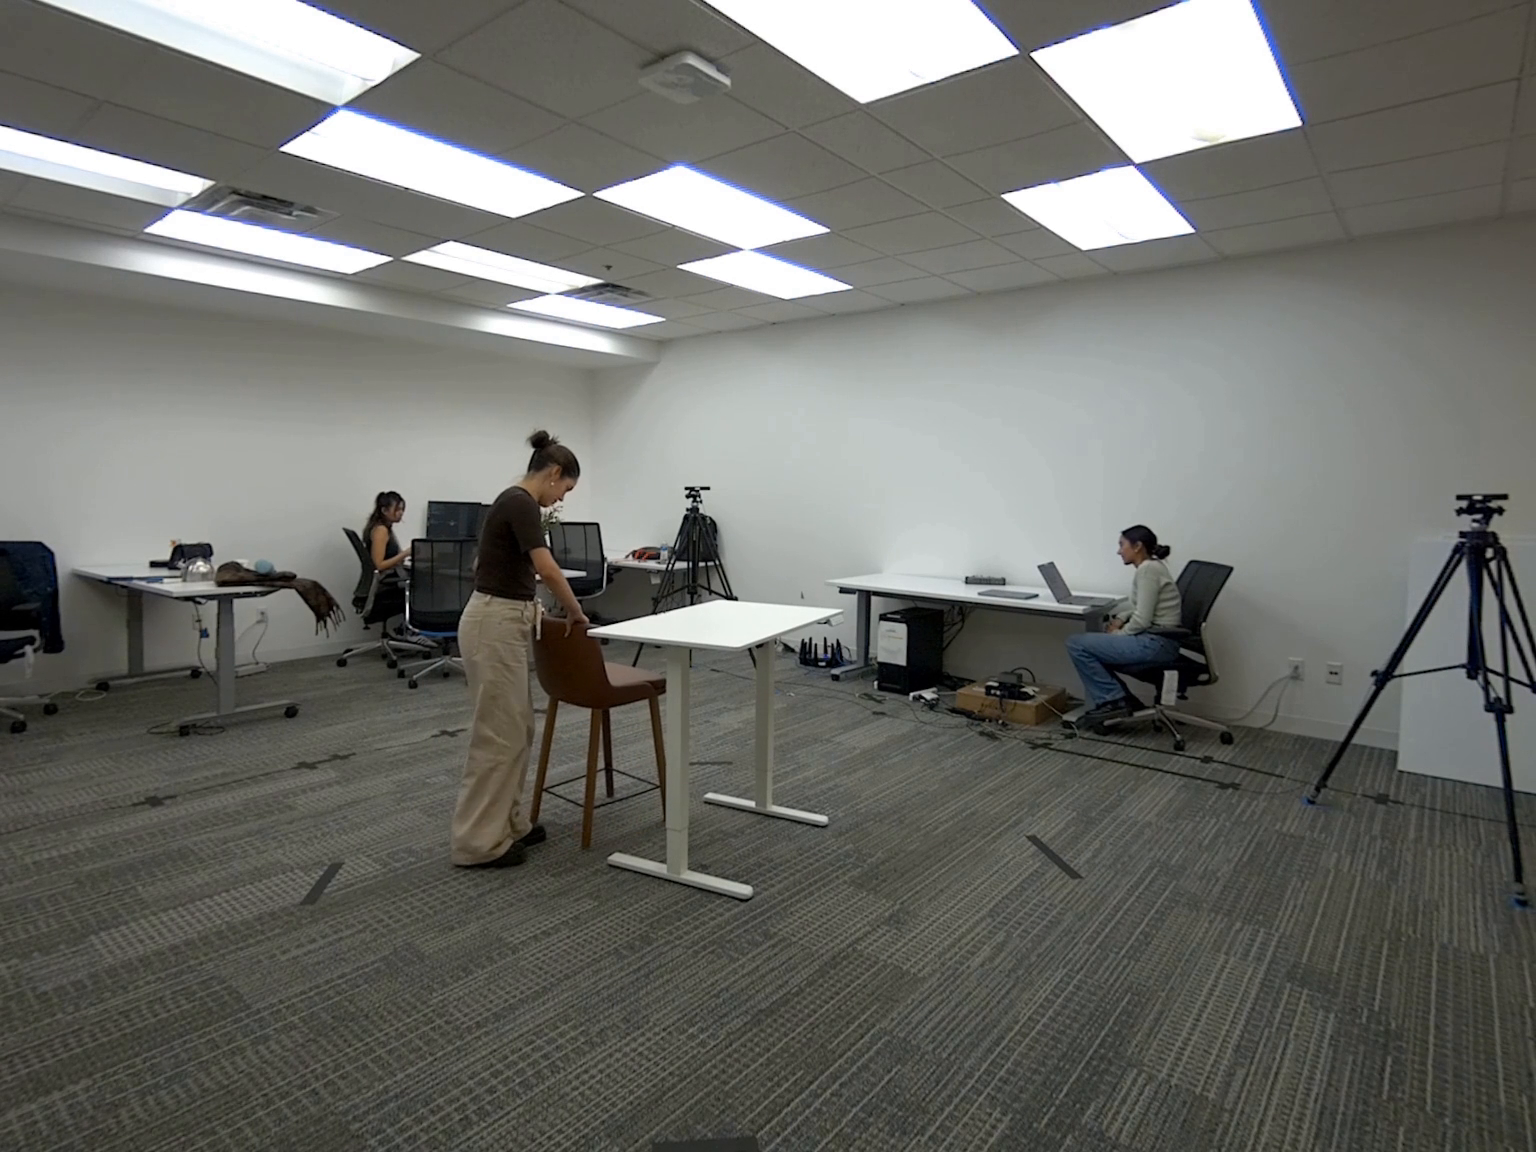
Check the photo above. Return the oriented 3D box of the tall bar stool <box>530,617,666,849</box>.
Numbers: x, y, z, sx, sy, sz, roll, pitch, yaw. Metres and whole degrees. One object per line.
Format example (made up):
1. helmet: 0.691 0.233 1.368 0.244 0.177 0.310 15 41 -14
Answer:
1. tall bar stool: -0.712 0.582 3.509 0.472 0.886 0.454 3 6 41
